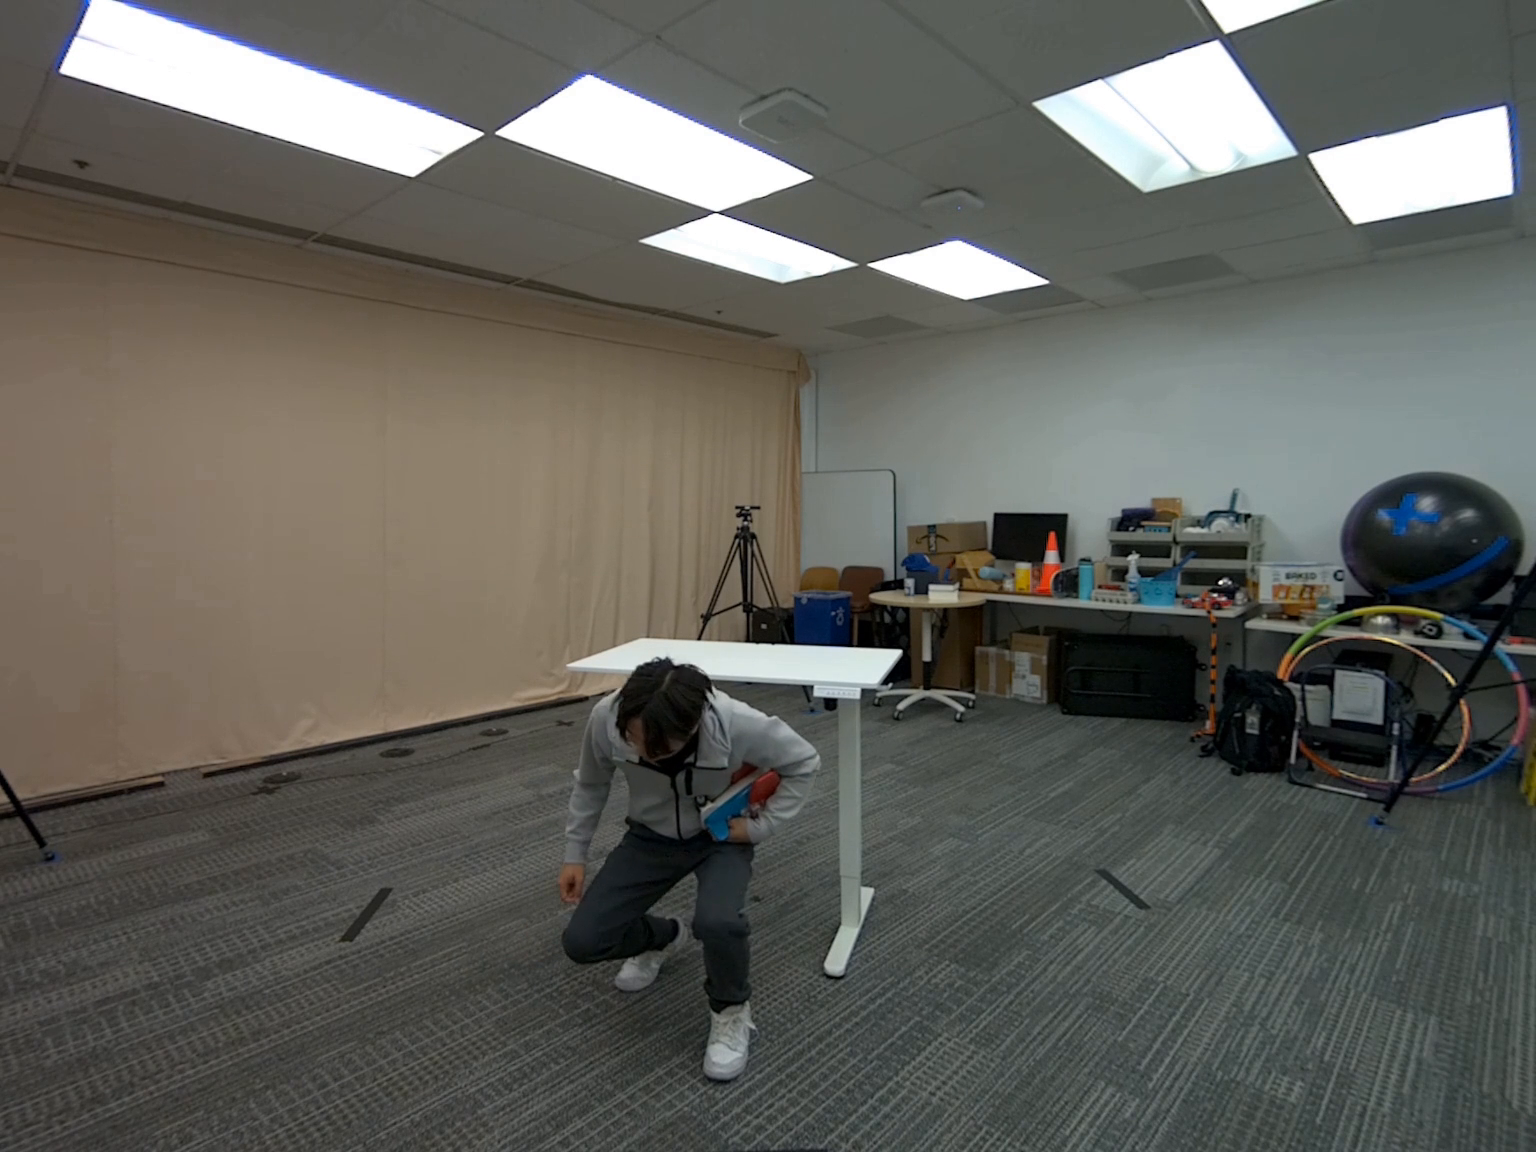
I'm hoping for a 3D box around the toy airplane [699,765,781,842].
[{"bbox_3d":[-0.096,0.573,2.270,0.251,0.251,0.161,-27,39,0],"label":"toy airplane"}]
